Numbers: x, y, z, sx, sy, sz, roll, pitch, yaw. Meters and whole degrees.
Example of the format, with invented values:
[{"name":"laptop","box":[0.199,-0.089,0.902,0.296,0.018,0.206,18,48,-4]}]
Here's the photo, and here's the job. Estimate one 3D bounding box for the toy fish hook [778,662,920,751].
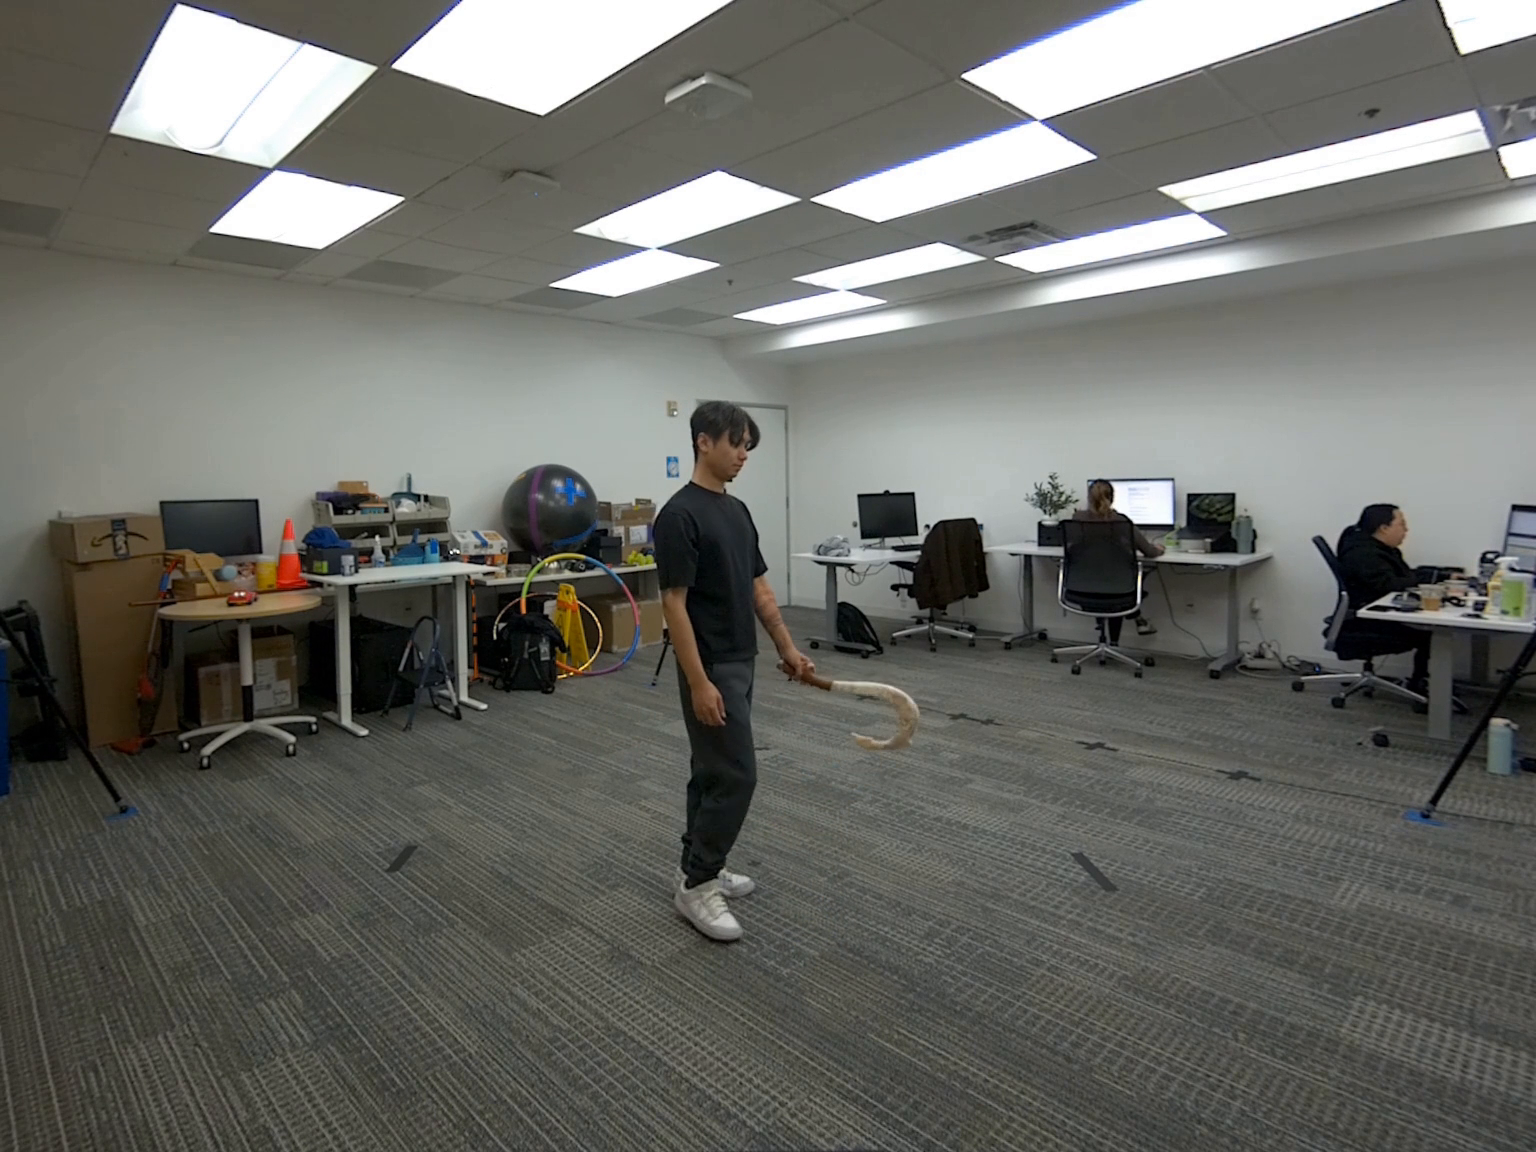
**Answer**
[{"name":"toy fish hook","box":[0.248,0.432,2.861,0.516,0.225,0.047,18,-6,15]}]
